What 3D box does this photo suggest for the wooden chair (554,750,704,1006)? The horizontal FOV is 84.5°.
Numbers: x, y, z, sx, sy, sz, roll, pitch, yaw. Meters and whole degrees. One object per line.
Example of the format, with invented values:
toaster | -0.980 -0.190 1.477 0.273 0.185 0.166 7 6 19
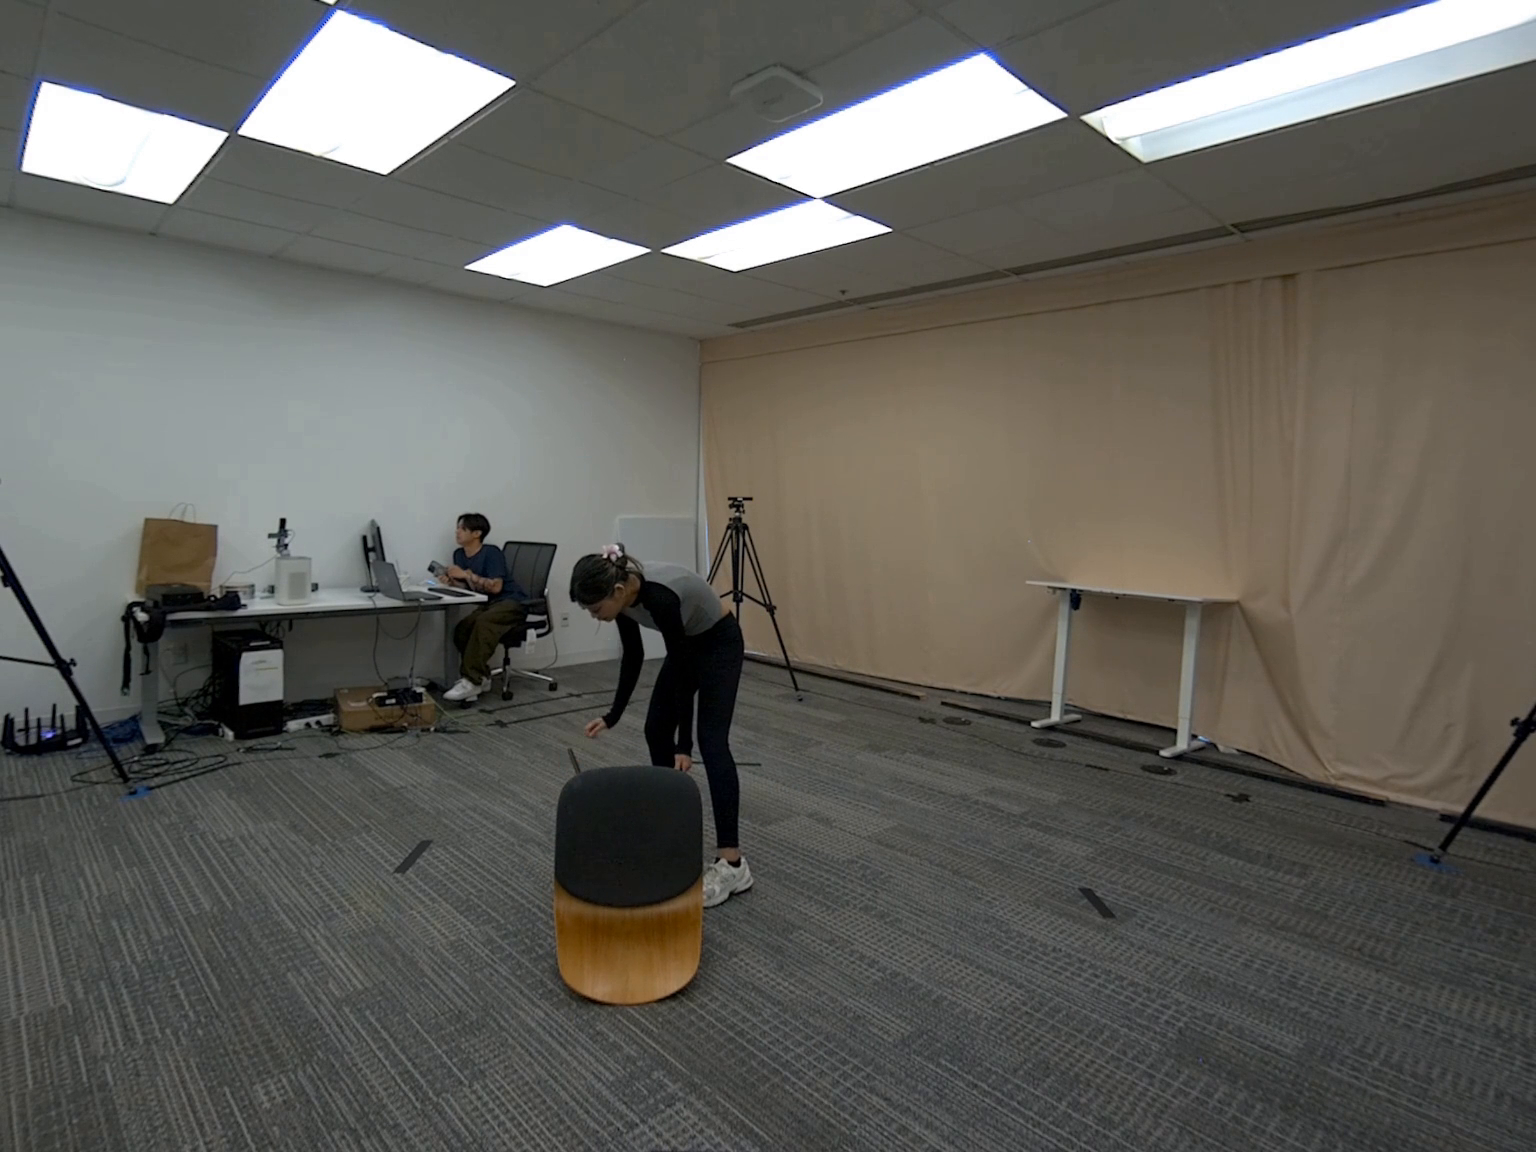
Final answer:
wooden chair | -0.454 0.874 2.714 0.475 0.521 0.886 0 6 -9
